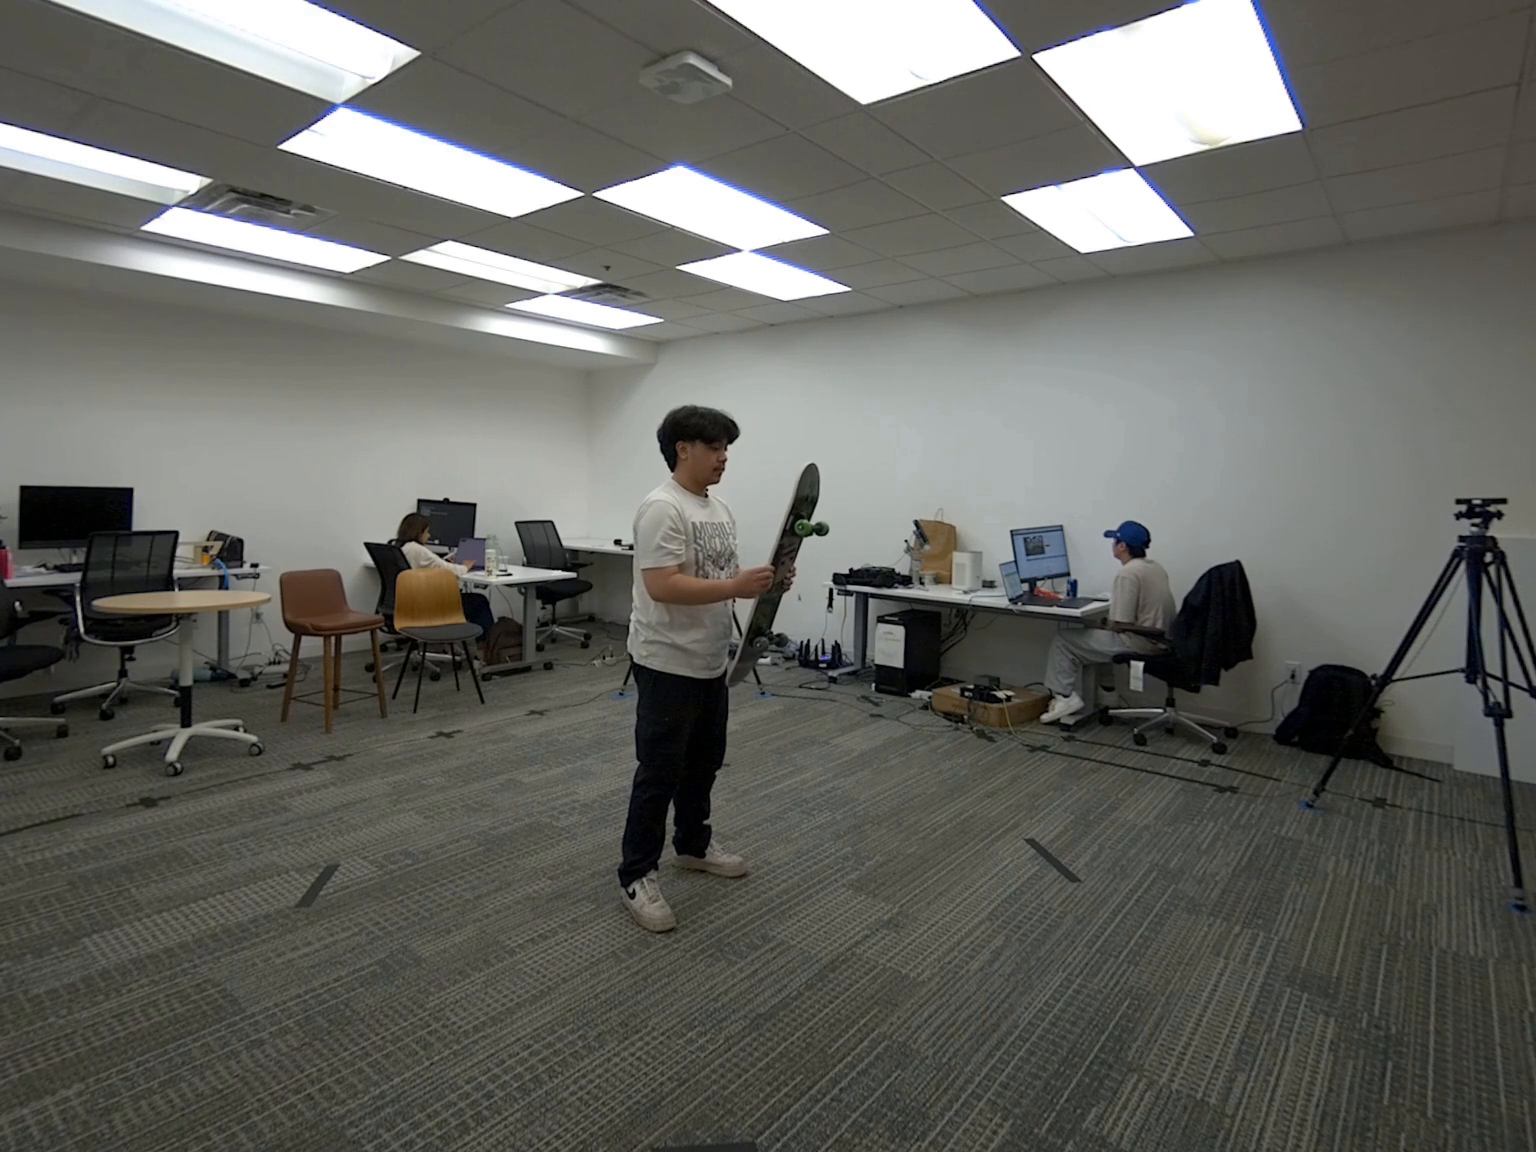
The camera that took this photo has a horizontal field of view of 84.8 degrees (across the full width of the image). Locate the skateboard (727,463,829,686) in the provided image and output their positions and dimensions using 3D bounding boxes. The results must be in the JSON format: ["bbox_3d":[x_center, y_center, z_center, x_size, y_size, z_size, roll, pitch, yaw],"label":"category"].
[{"bbox_3d":[0.044,0.022,2.753,0.114,0.782,0.188,24,9,24],"label":"skateboard"}]
